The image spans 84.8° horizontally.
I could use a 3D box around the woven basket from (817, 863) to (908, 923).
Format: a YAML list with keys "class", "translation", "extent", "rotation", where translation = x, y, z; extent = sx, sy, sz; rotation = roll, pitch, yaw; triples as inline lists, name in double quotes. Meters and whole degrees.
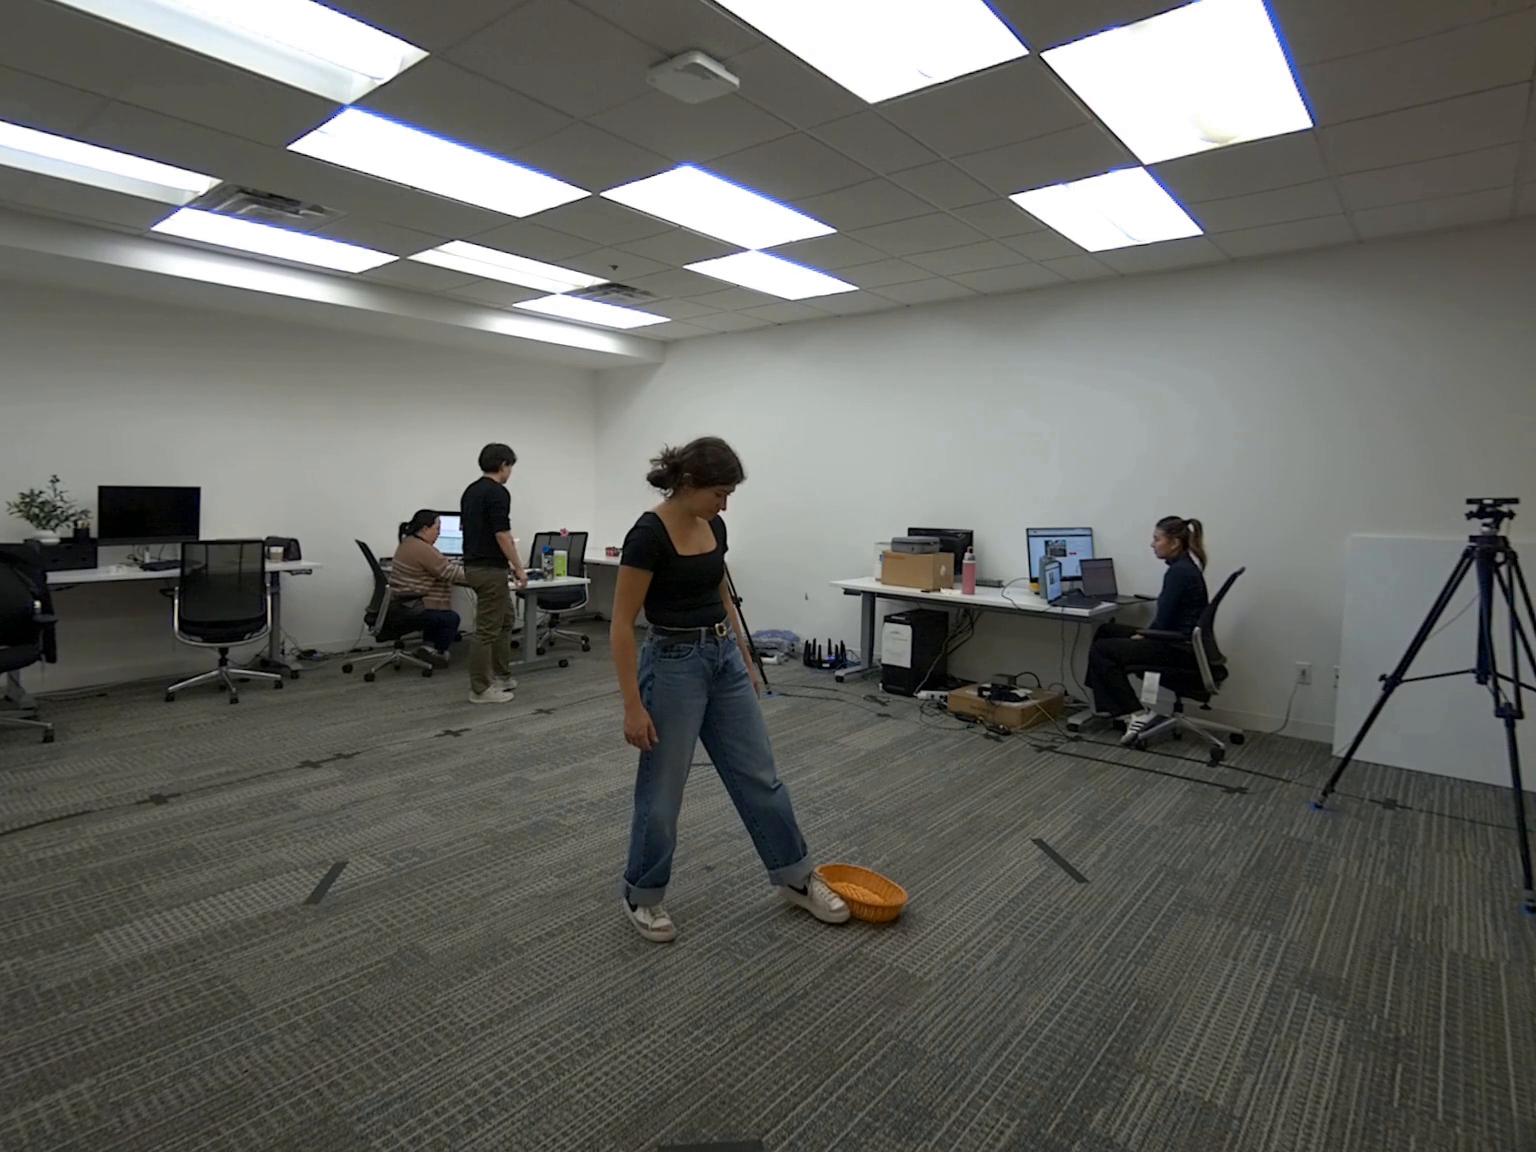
- class: "woven basket"
  translation: [0.301, 1.060, 2.862]
  extent: [0.244, 0.073, 0.362]
  rotation: [5, 2, -34]
